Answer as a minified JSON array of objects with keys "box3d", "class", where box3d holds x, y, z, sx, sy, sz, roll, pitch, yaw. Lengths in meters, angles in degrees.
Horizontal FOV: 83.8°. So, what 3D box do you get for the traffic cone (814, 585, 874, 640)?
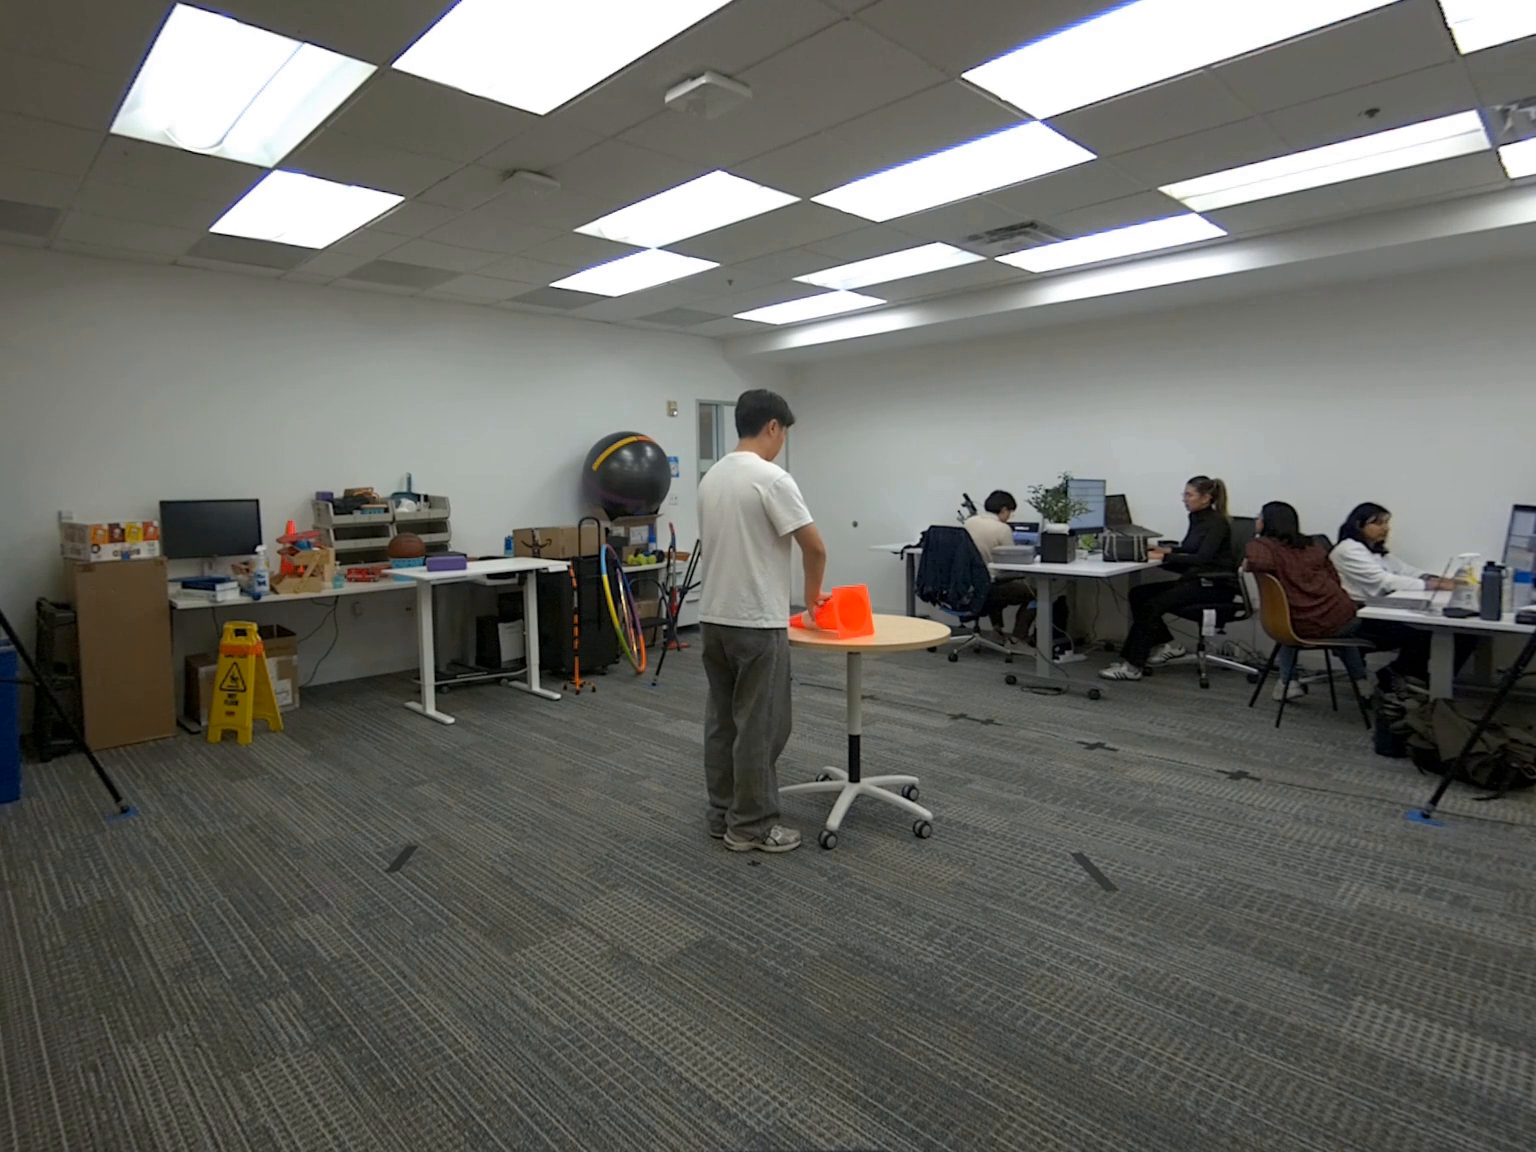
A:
[{"box3d":[0.202,0.162,3.427,0.198,0.206,0.392,-1,-8,-40],"class":"traffic cone"}]
